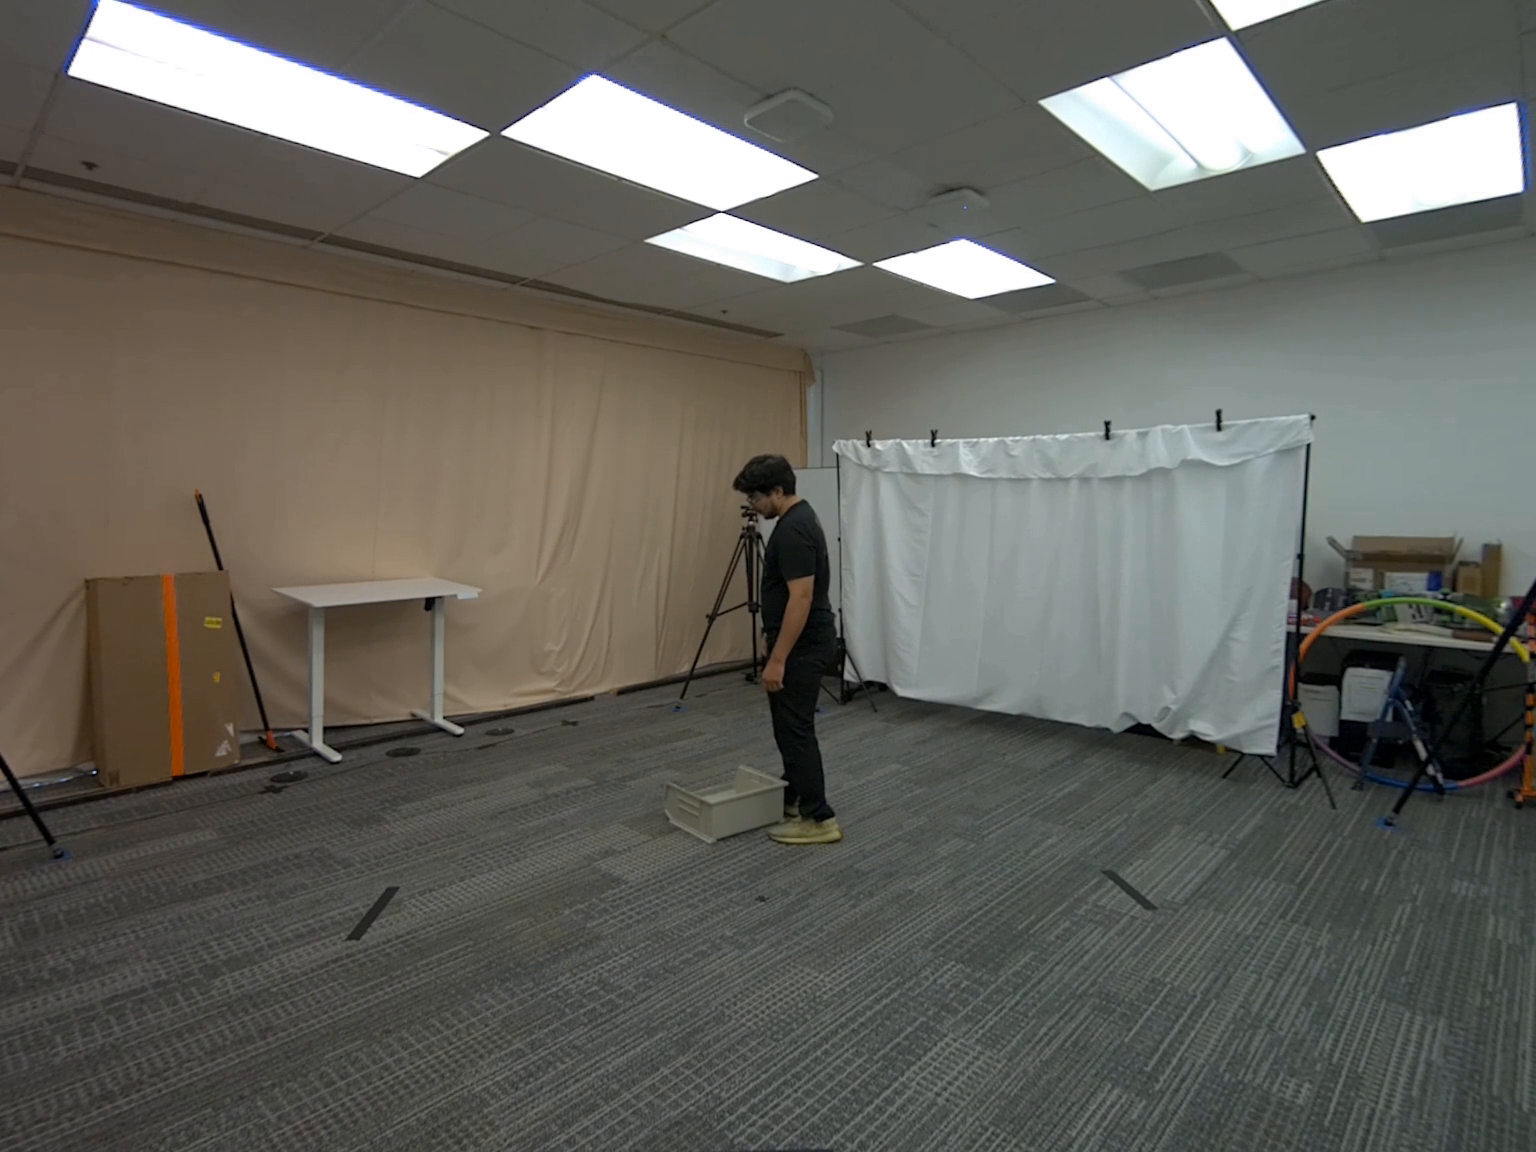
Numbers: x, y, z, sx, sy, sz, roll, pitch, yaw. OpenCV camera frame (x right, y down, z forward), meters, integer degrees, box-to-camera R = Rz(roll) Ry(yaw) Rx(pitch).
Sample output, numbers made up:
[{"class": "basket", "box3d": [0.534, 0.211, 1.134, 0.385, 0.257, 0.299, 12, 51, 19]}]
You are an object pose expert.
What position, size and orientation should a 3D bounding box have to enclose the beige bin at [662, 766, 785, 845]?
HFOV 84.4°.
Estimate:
[{"class": "beige bin", "box3d": [-0.190, 0.995, 3.728, 0.409, 0.188, 0.390, -3, 6, -38]}]
